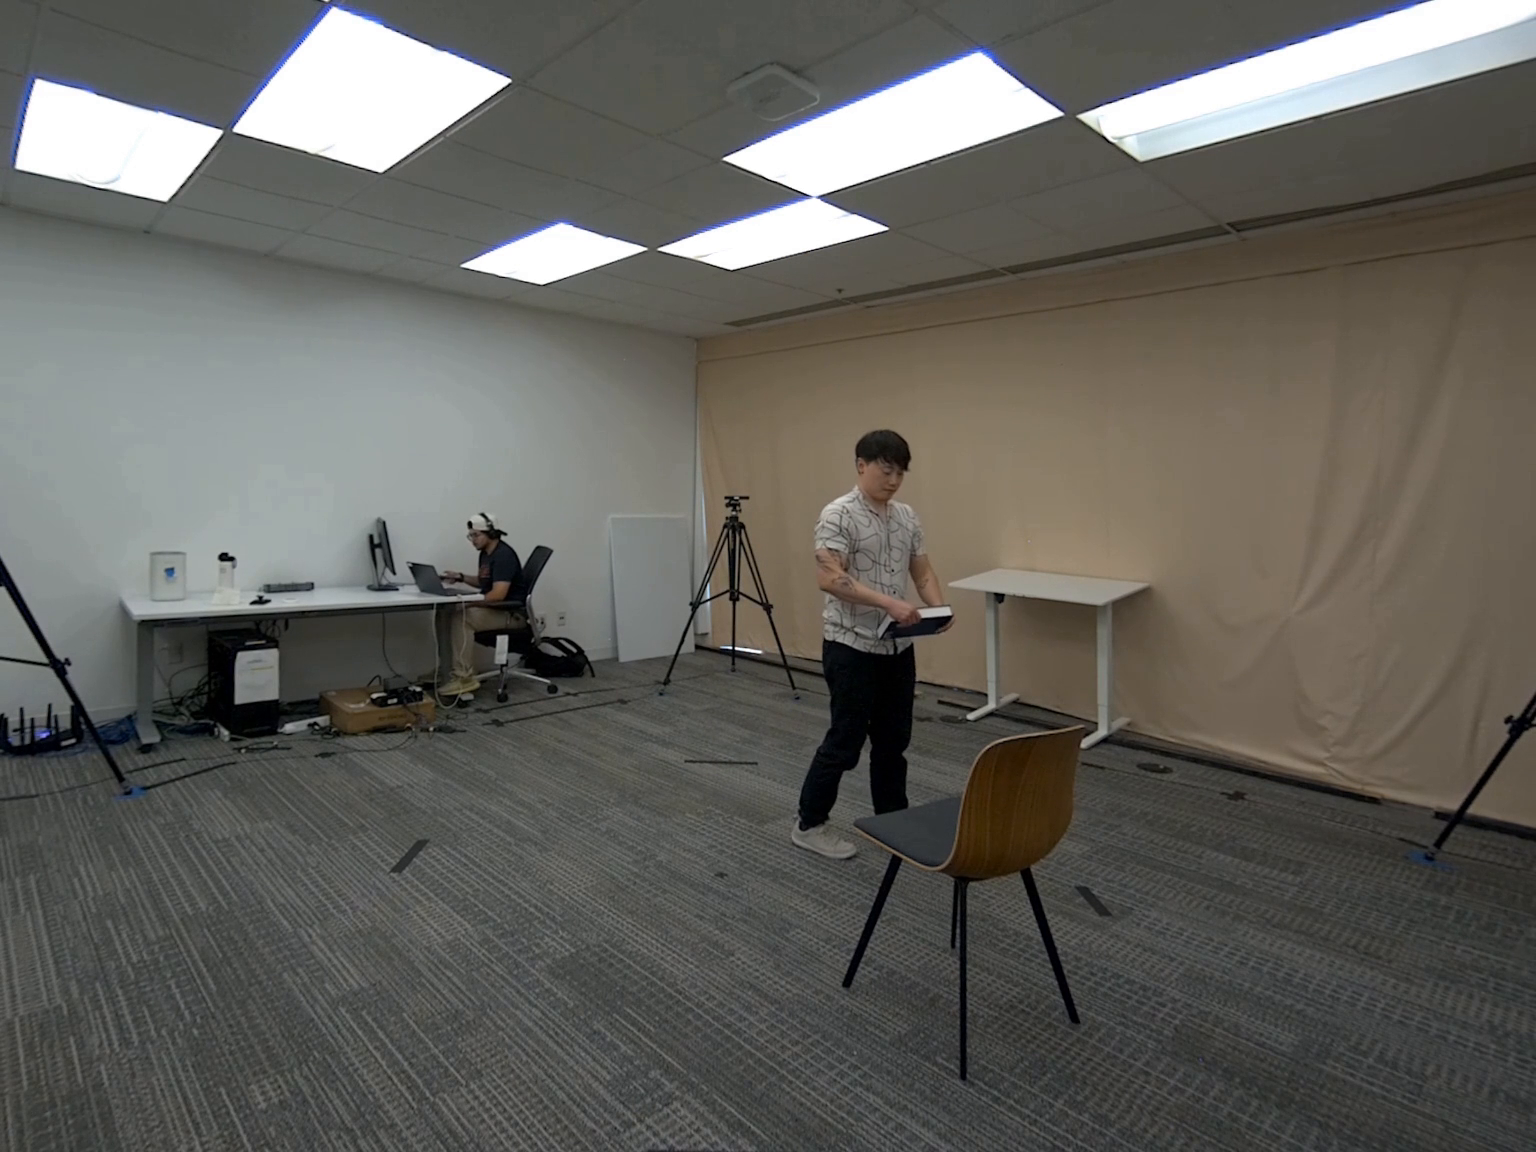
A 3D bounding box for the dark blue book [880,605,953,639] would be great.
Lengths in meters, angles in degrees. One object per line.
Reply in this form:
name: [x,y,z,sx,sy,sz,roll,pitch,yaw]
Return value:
dark blue book: [0.513,0.172,3.103,0.243,0.046,0.161,-5,-28,-9]
